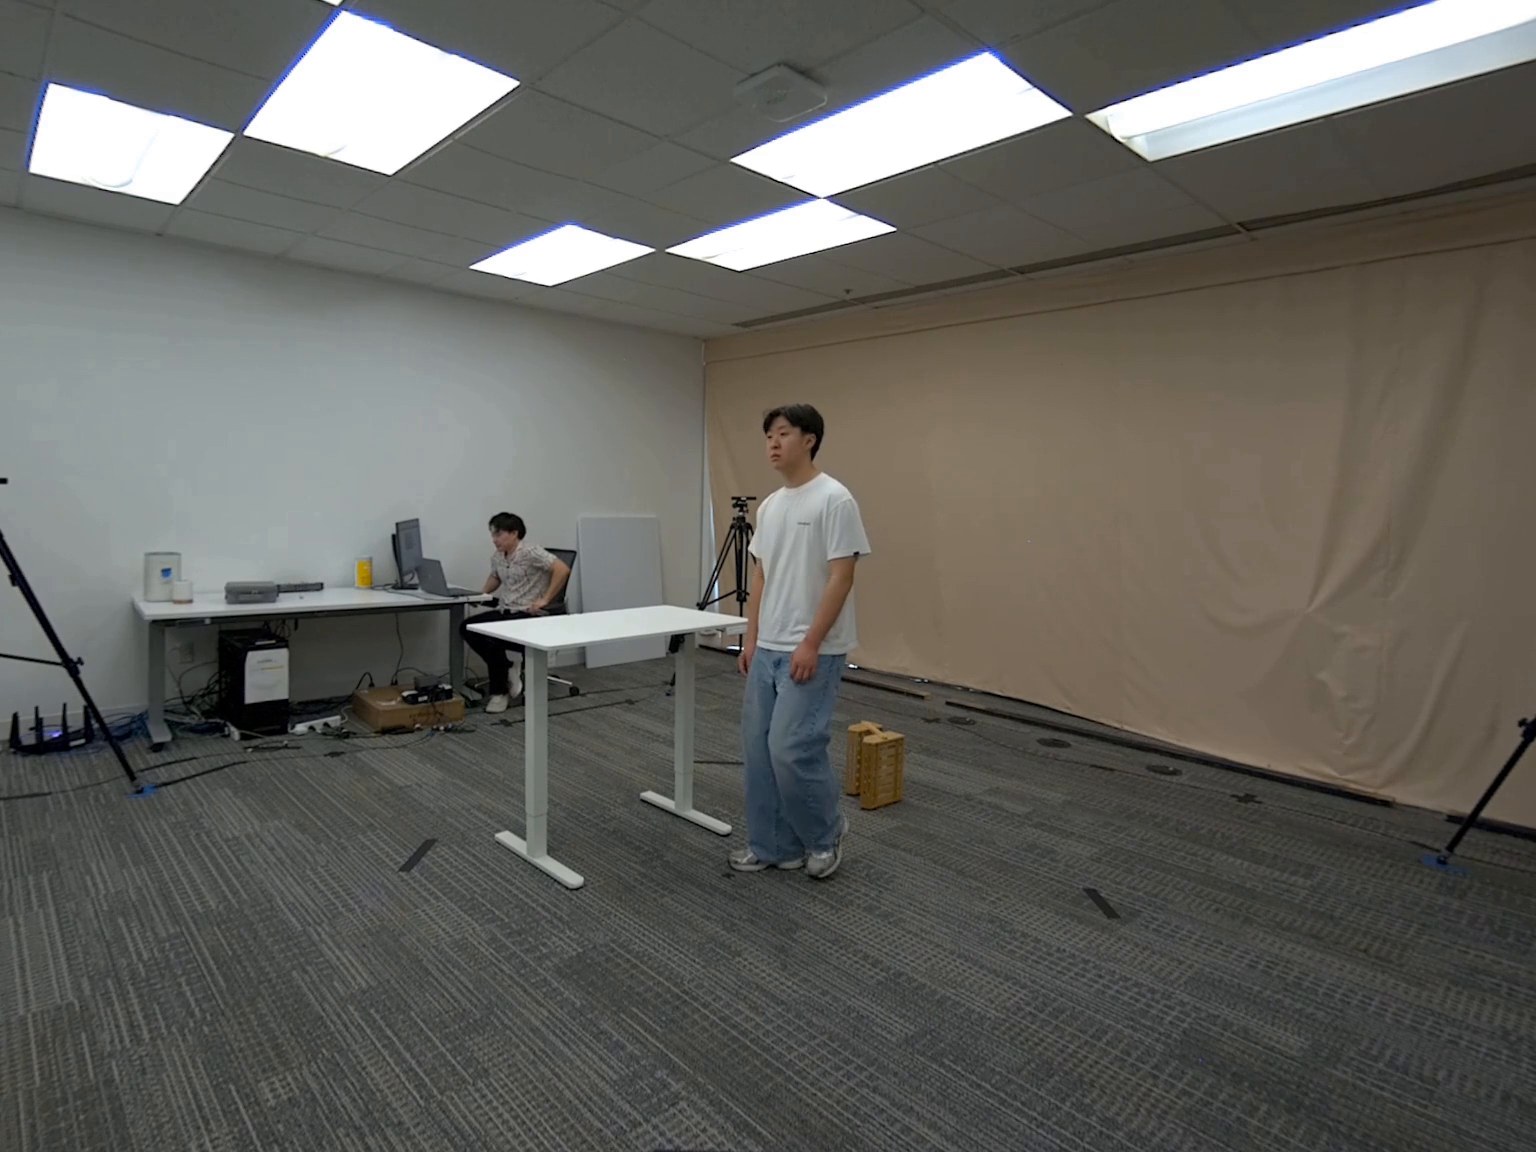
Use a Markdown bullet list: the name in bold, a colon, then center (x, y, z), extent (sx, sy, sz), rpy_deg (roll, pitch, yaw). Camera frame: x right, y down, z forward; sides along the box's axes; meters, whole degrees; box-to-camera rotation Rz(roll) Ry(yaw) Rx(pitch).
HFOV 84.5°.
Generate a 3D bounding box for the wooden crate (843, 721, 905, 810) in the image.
- **wooden crate**: center (0.459, 0.883, 3.975), extent (0.295, 0.324, 0.280), rpy_deg (0, 5, -42)
